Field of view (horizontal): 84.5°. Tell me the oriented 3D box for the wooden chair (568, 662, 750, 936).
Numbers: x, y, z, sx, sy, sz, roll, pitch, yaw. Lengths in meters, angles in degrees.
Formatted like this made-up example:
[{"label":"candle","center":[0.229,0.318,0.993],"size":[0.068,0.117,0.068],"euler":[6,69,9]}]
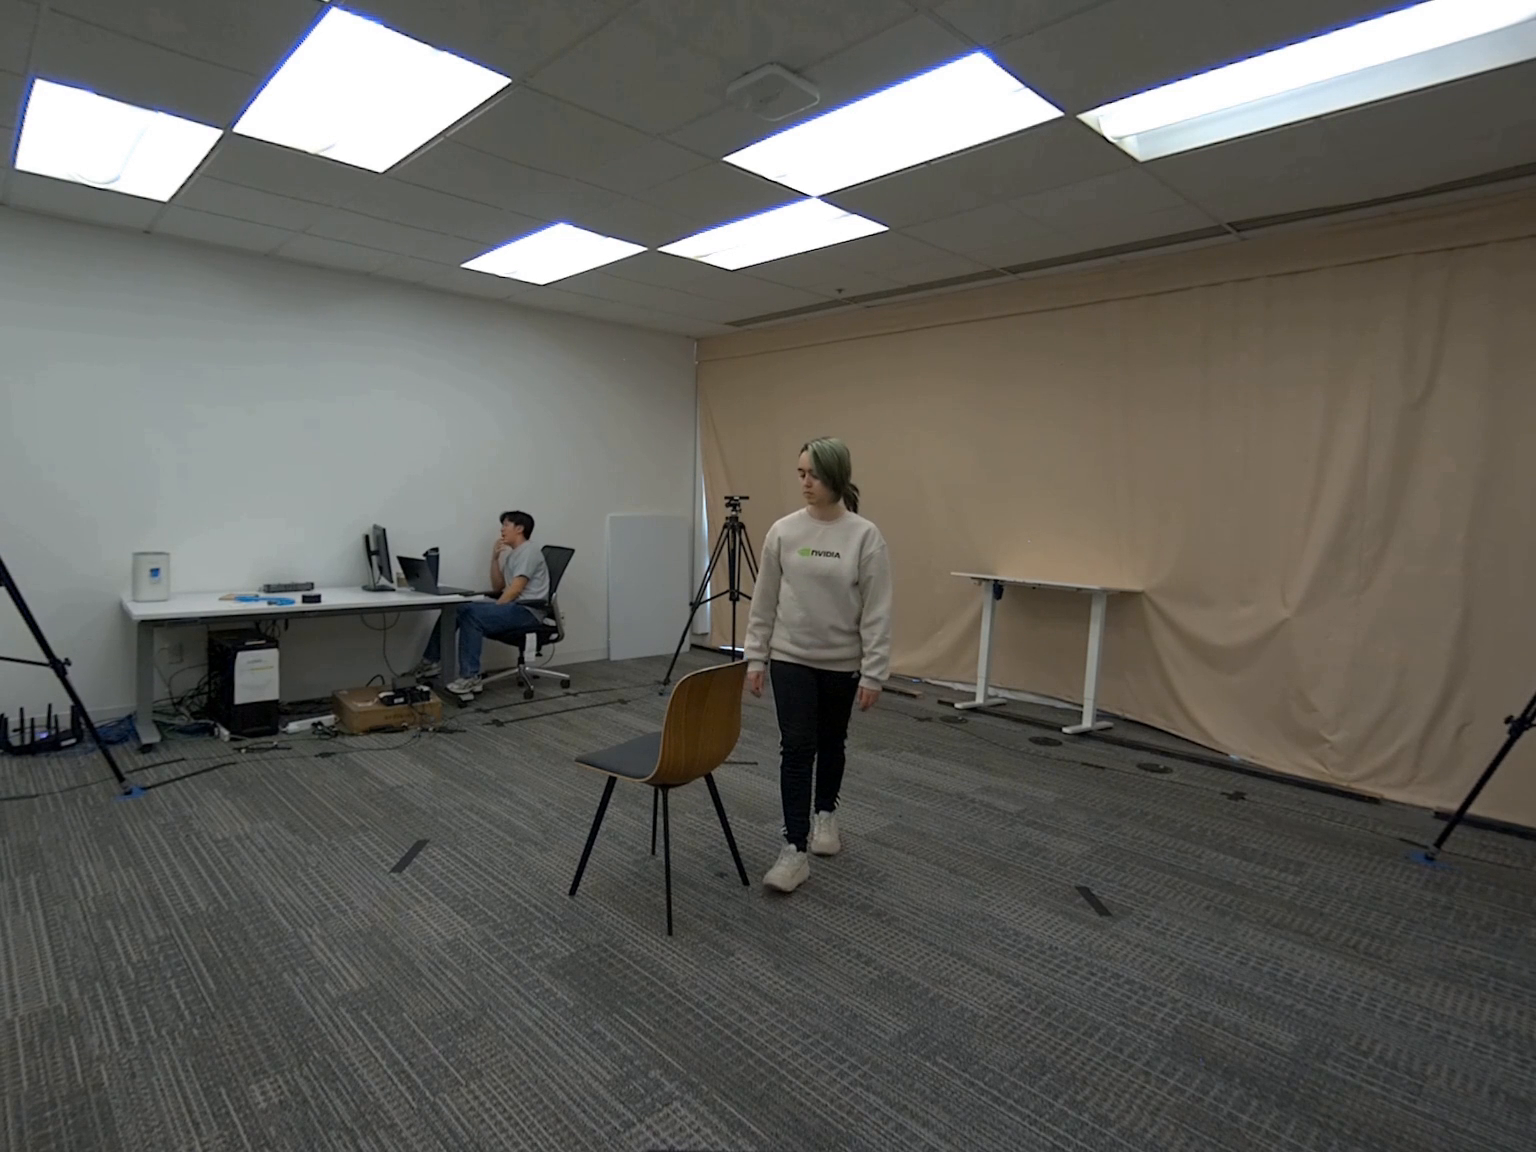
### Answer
[{"label":"wooden chair","center":[-0.380,0.686,2.942],"size":[0.536,0.874,0.468],"euler":[8,7,34]}]
